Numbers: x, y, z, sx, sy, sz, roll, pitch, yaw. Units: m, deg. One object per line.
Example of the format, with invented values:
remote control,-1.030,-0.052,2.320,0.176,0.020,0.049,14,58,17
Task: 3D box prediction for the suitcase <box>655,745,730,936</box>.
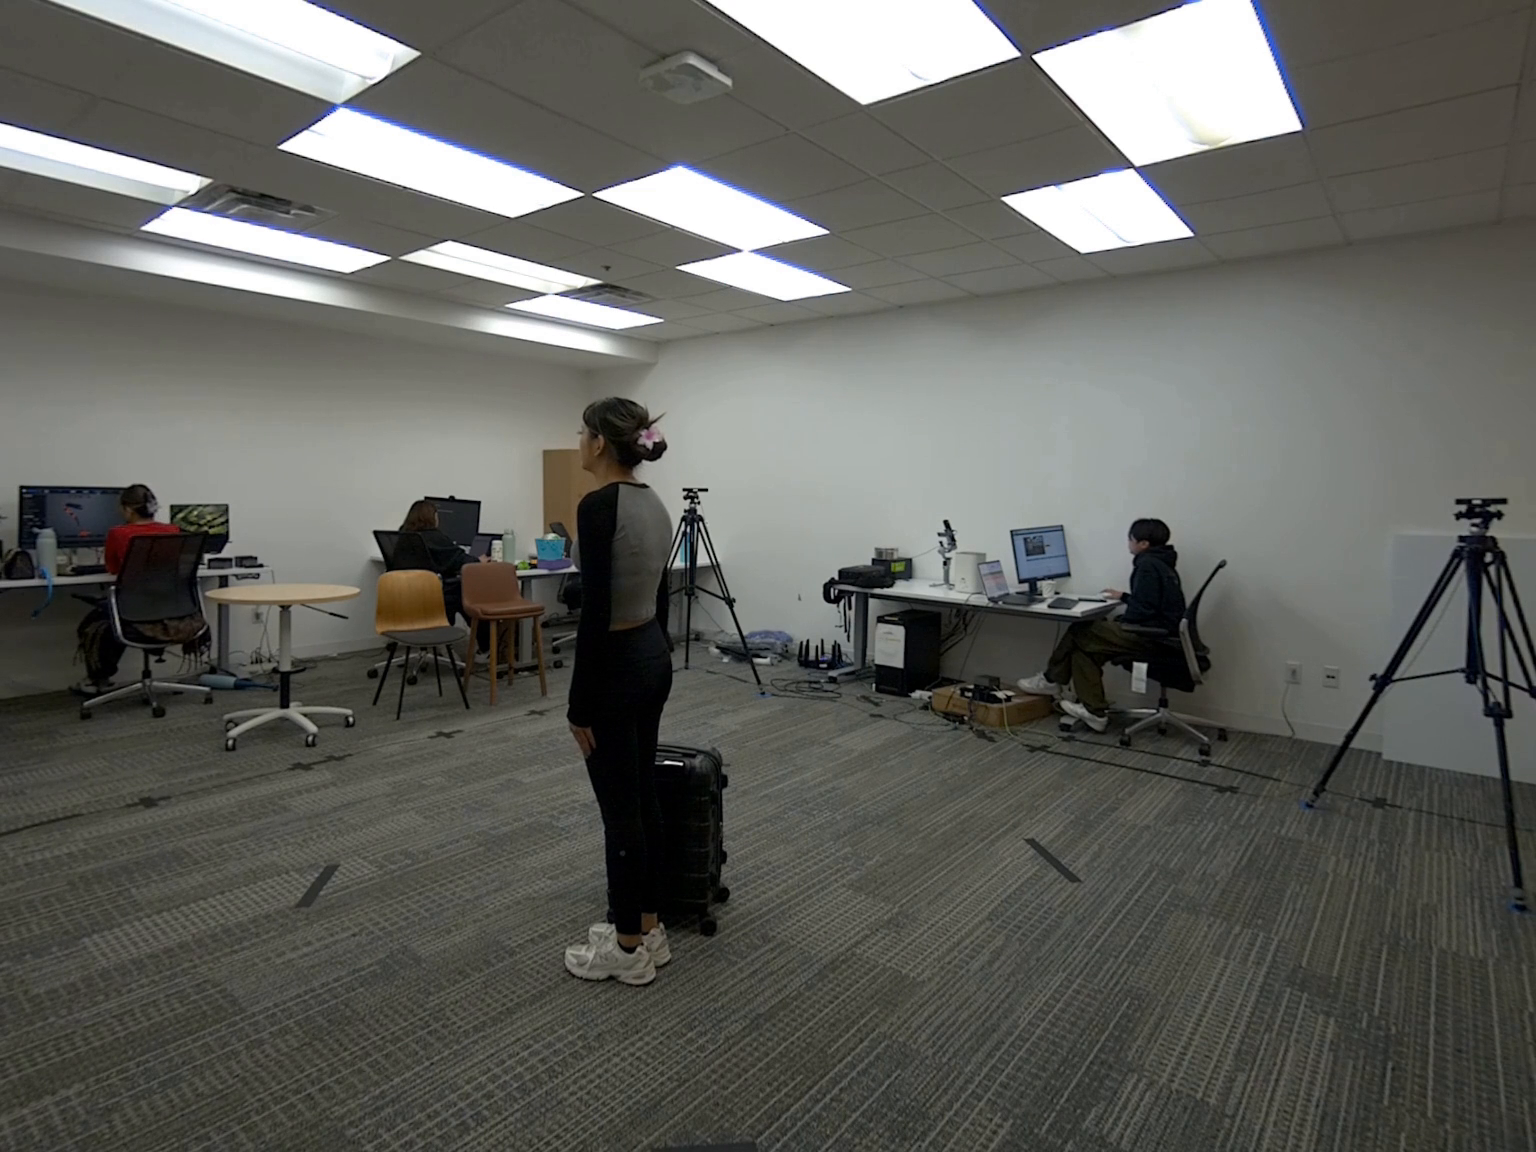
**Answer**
suitcase,-0.338,0.822,2.779,0.380,0.548,0.246,0,2,10
